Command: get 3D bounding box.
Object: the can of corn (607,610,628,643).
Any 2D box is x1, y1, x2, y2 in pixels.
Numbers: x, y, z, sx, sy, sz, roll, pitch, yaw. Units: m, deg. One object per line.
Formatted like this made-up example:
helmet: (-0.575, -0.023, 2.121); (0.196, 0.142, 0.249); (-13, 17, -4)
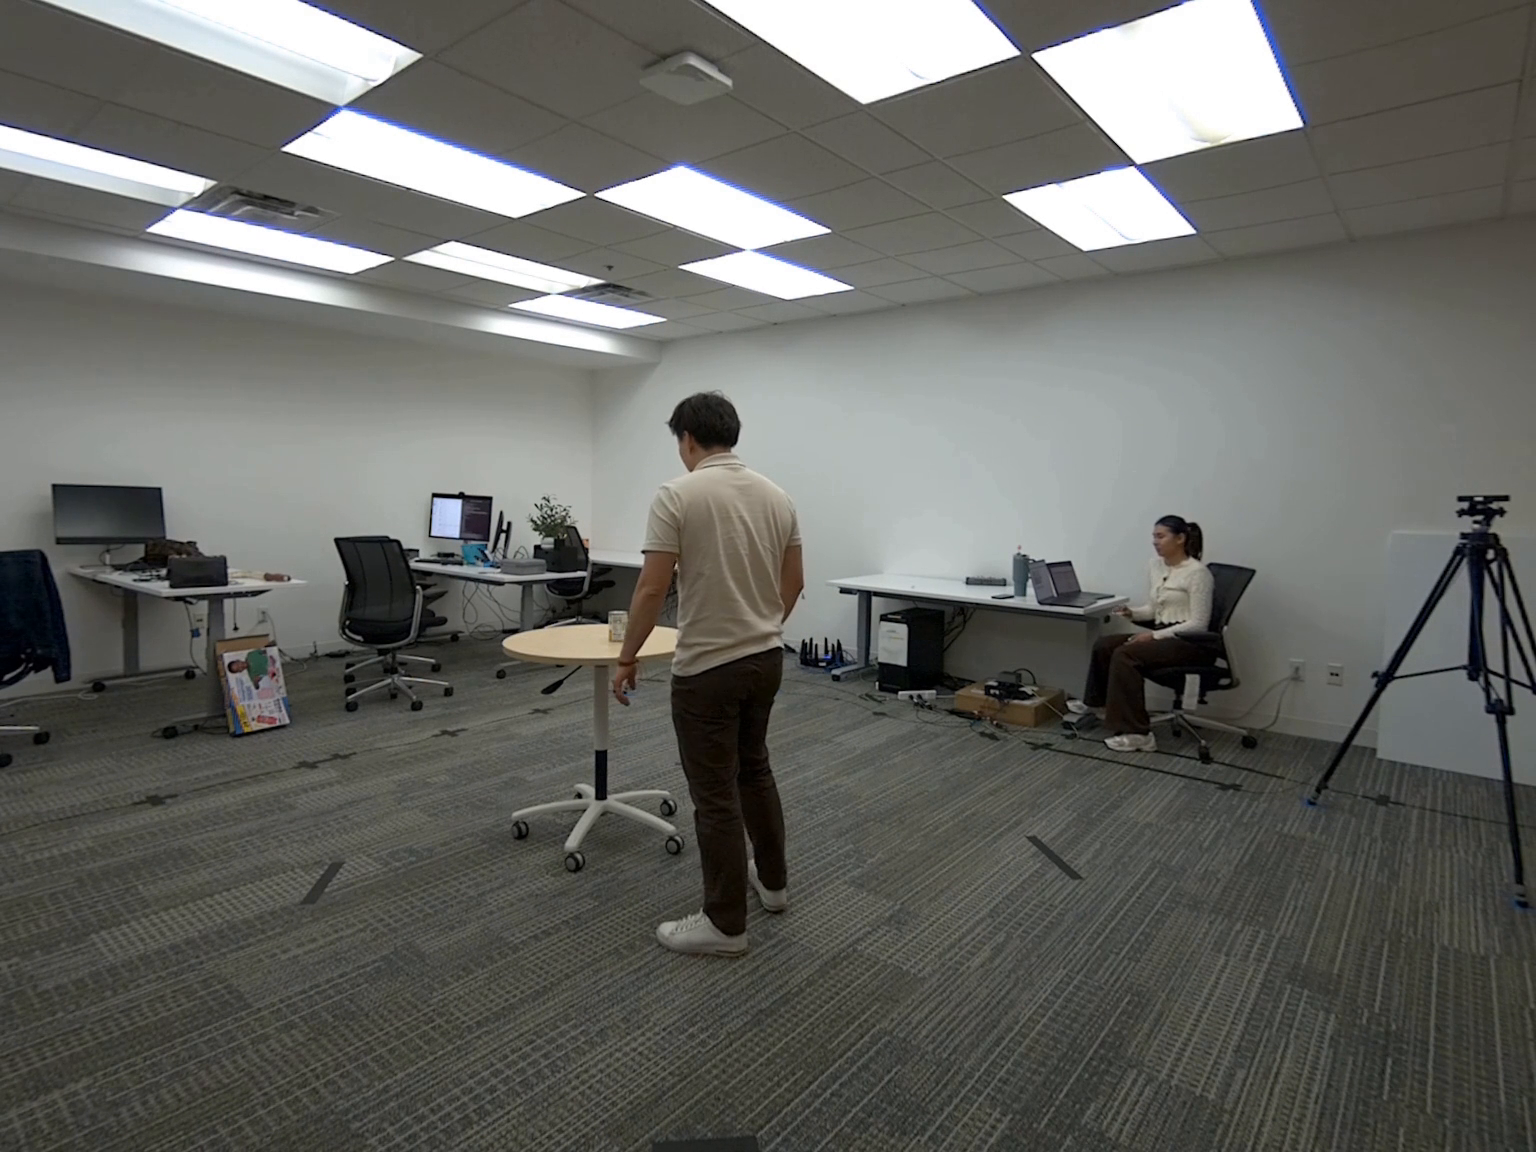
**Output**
can of corn: (-0.604, 0.195, 3.349); (0.074, 0.111, 0.074); (1, 3, -2)
